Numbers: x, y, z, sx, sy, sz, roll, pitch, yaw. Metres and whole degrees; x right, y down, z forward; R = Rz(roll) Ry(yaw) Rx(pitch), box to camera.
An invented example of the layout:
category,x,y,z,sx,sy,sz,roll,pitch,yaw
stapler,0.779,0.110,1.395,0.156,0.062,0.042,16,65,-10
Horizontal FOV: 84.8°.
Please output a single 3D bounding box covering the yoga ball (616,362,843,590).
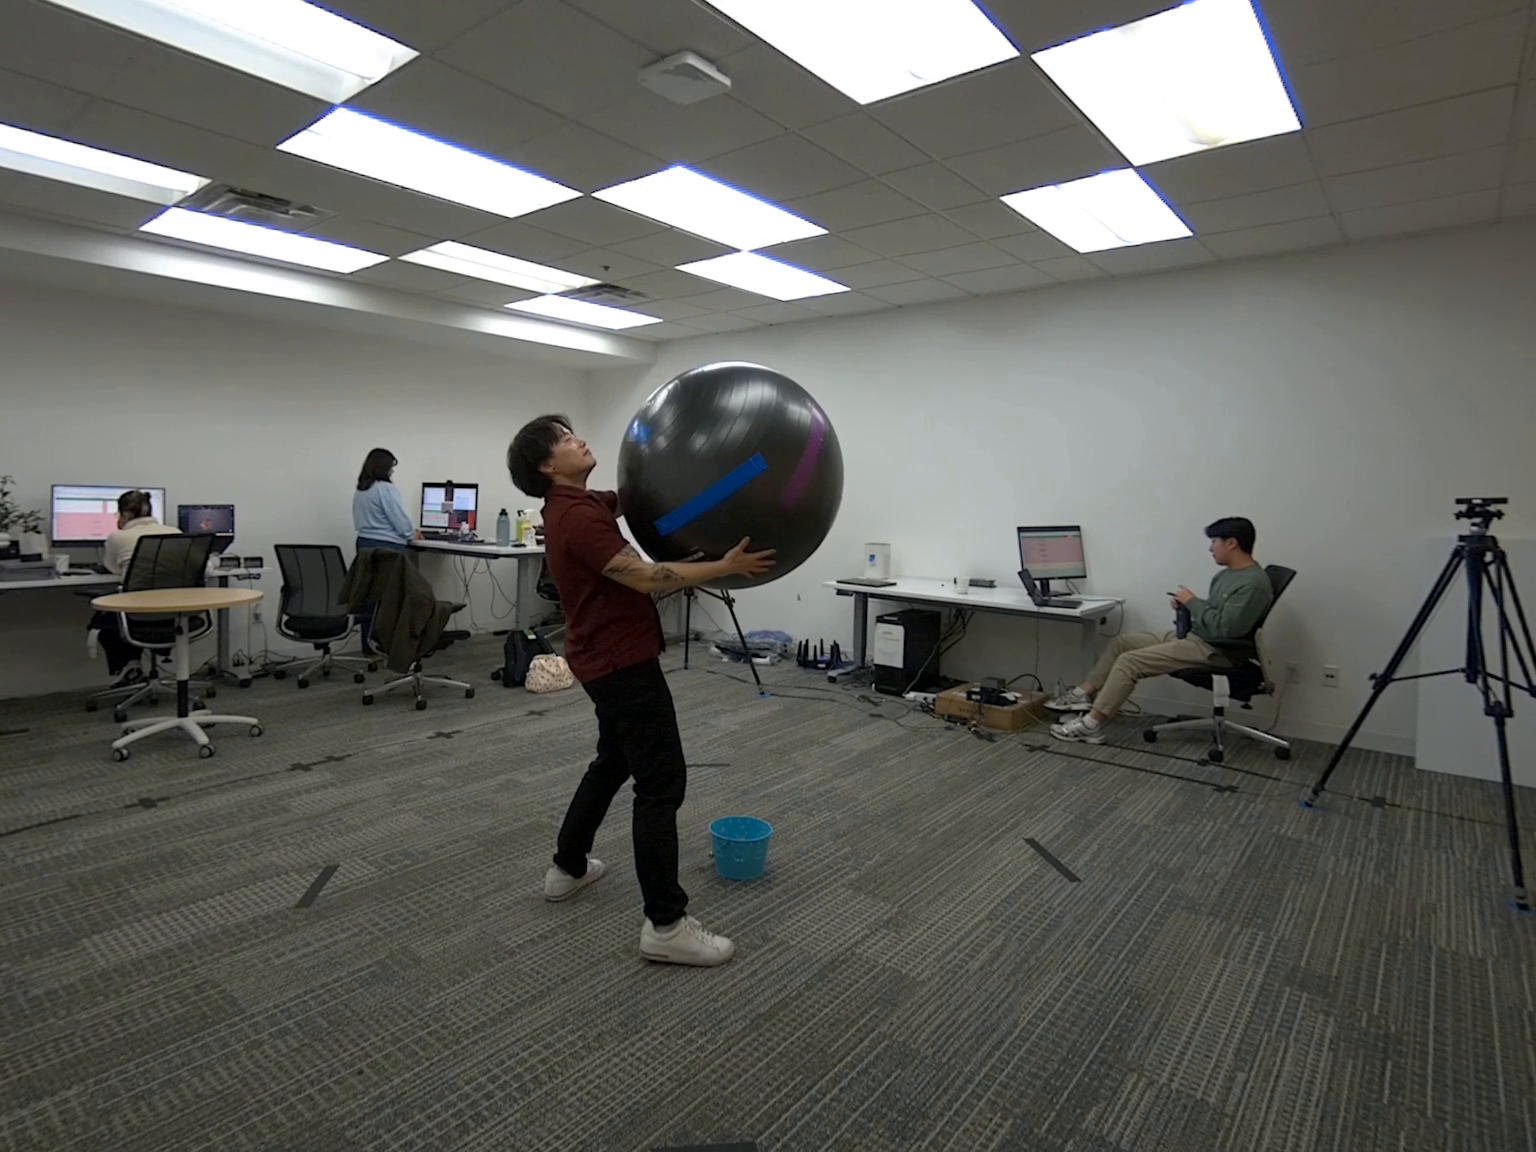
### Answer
category,x,y,z,sx,sy,sz,roll,pitch,yaw
yoga ball,-0.135,-0.334,2.857,0.757,0.756,0.762,1,4,-2
